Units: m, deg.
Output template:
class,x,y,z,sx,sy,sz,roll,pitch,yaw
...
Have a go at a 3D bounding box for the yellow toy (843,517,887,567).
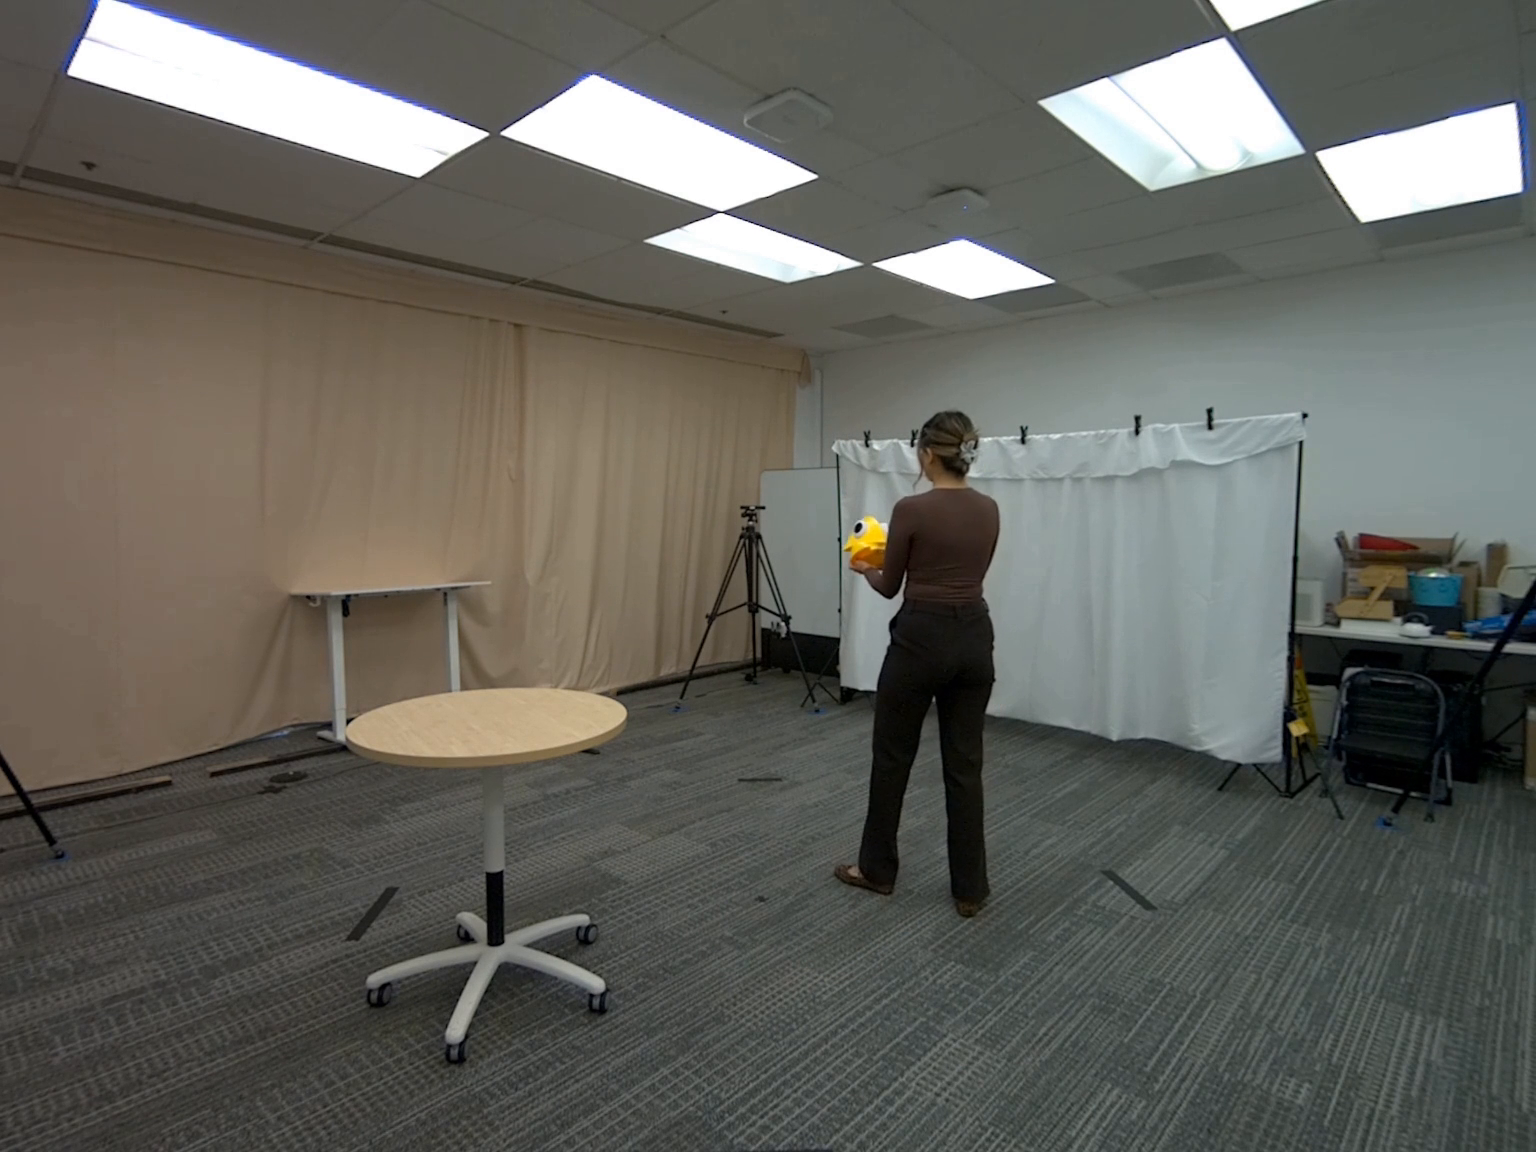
class,x,y,z,sx,sy,sz,roll,pitch,yaw
yellow toy,0.423,-0.167,3.336,0.202,0.234,0.192,5,-29,-12
